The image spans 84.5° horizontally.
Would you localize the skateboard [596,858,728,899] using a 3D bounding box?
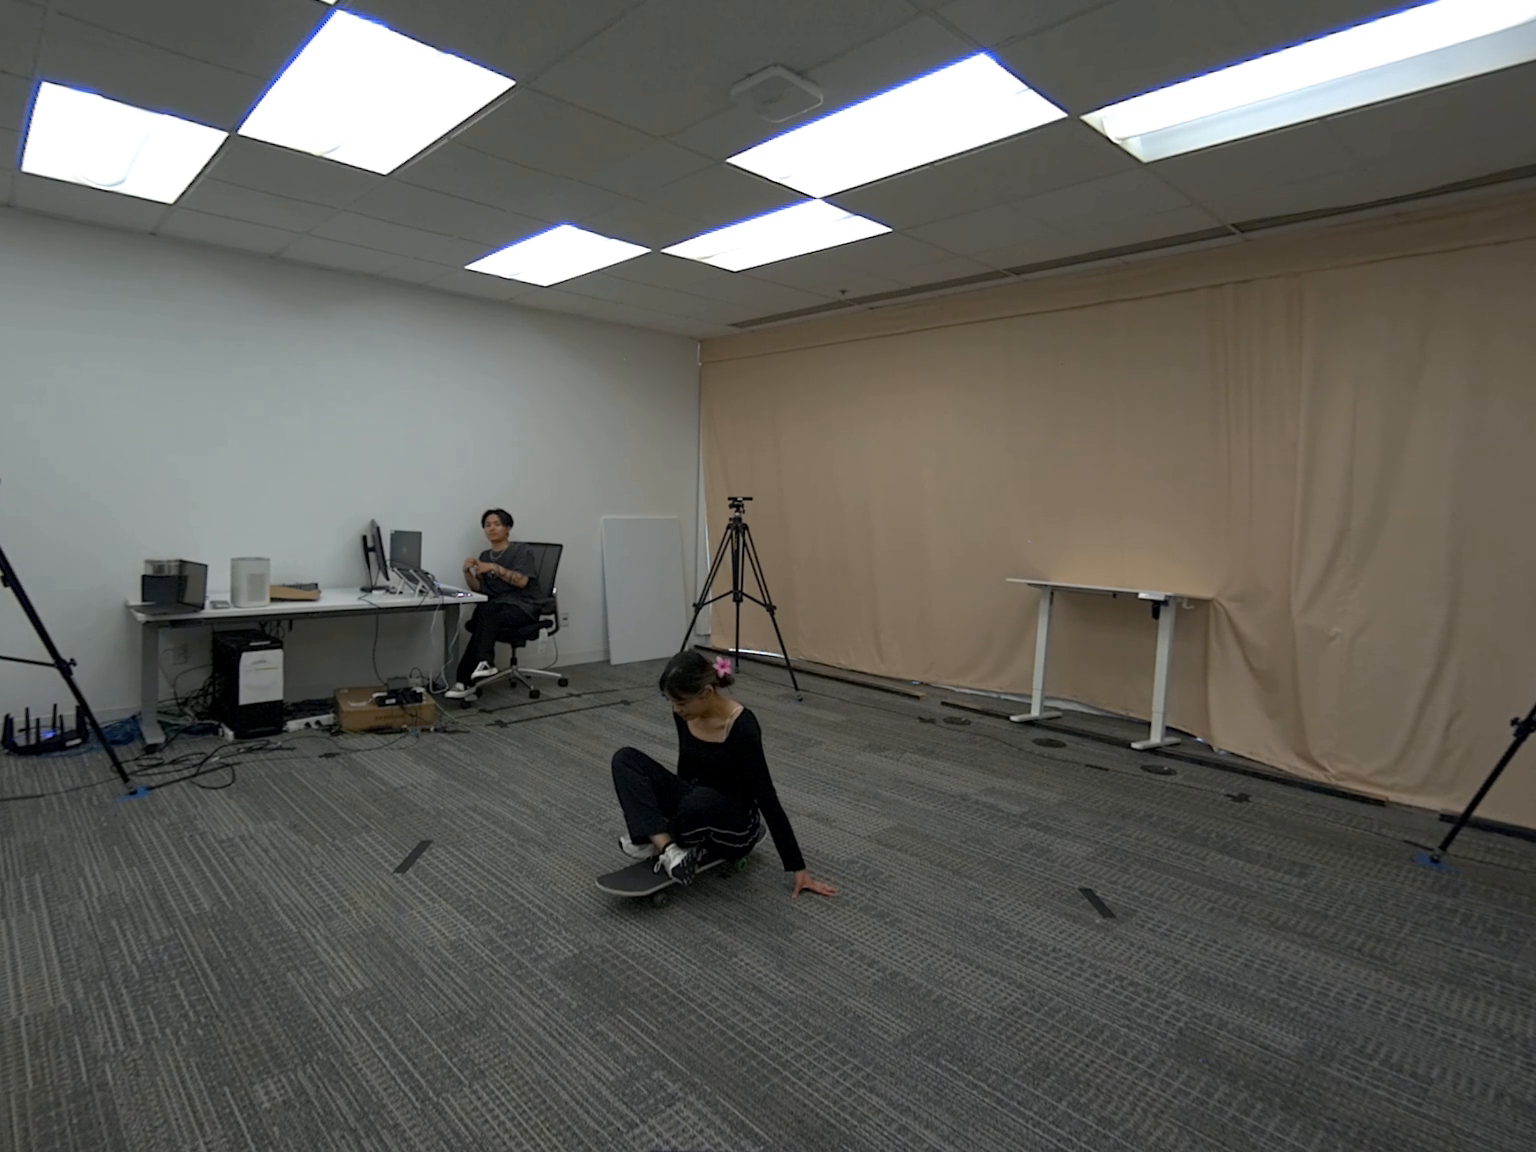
[{"bbox_3d":[-0.295,1.052,3.041,0.198,0.110,0.767,3,3,40],"label":"skateboard"}]
